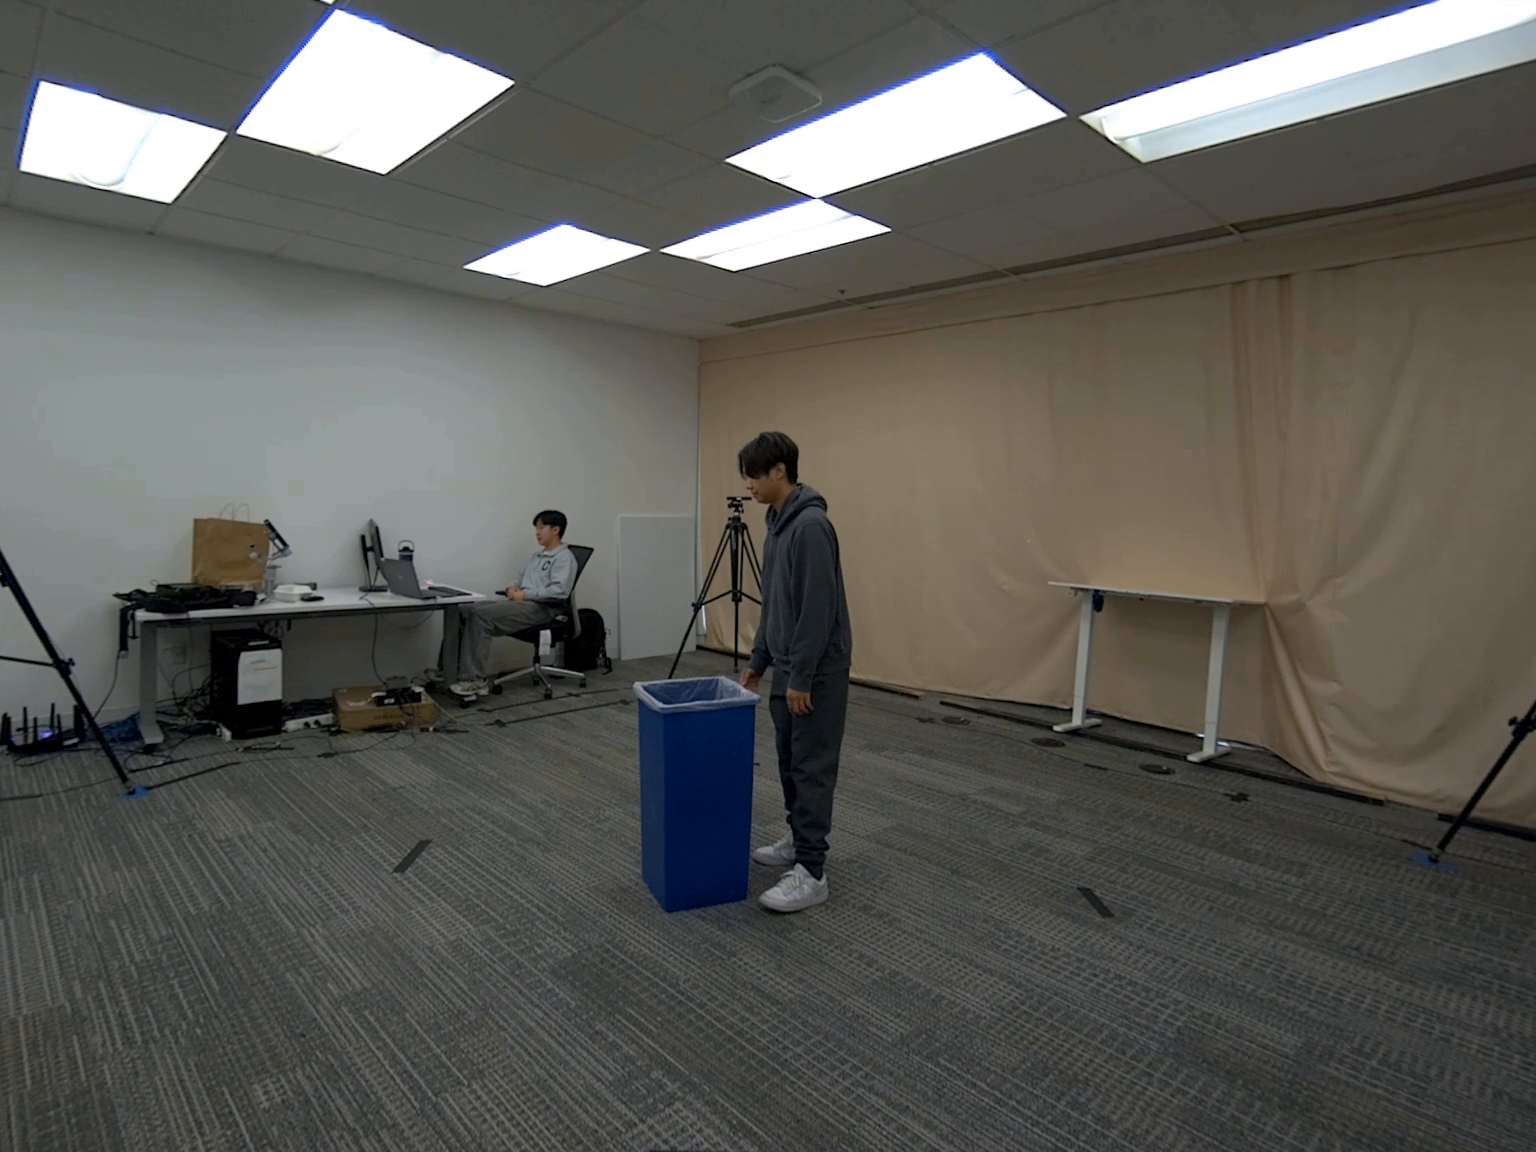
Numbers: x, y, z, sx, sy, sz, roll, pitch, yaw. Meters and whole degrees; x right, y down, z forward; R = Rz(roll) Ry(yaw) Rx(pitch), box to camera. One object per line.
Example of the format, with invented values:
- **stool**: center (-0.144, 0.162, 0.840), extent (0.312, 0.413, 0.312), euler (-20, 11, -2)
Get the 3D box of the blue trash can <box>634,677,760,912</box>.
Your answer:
- **blue trash can**: center (-0.267, 0.754, 2.980), extent (0.368, 0.712, 0.385), euler (0, 3, -24)
